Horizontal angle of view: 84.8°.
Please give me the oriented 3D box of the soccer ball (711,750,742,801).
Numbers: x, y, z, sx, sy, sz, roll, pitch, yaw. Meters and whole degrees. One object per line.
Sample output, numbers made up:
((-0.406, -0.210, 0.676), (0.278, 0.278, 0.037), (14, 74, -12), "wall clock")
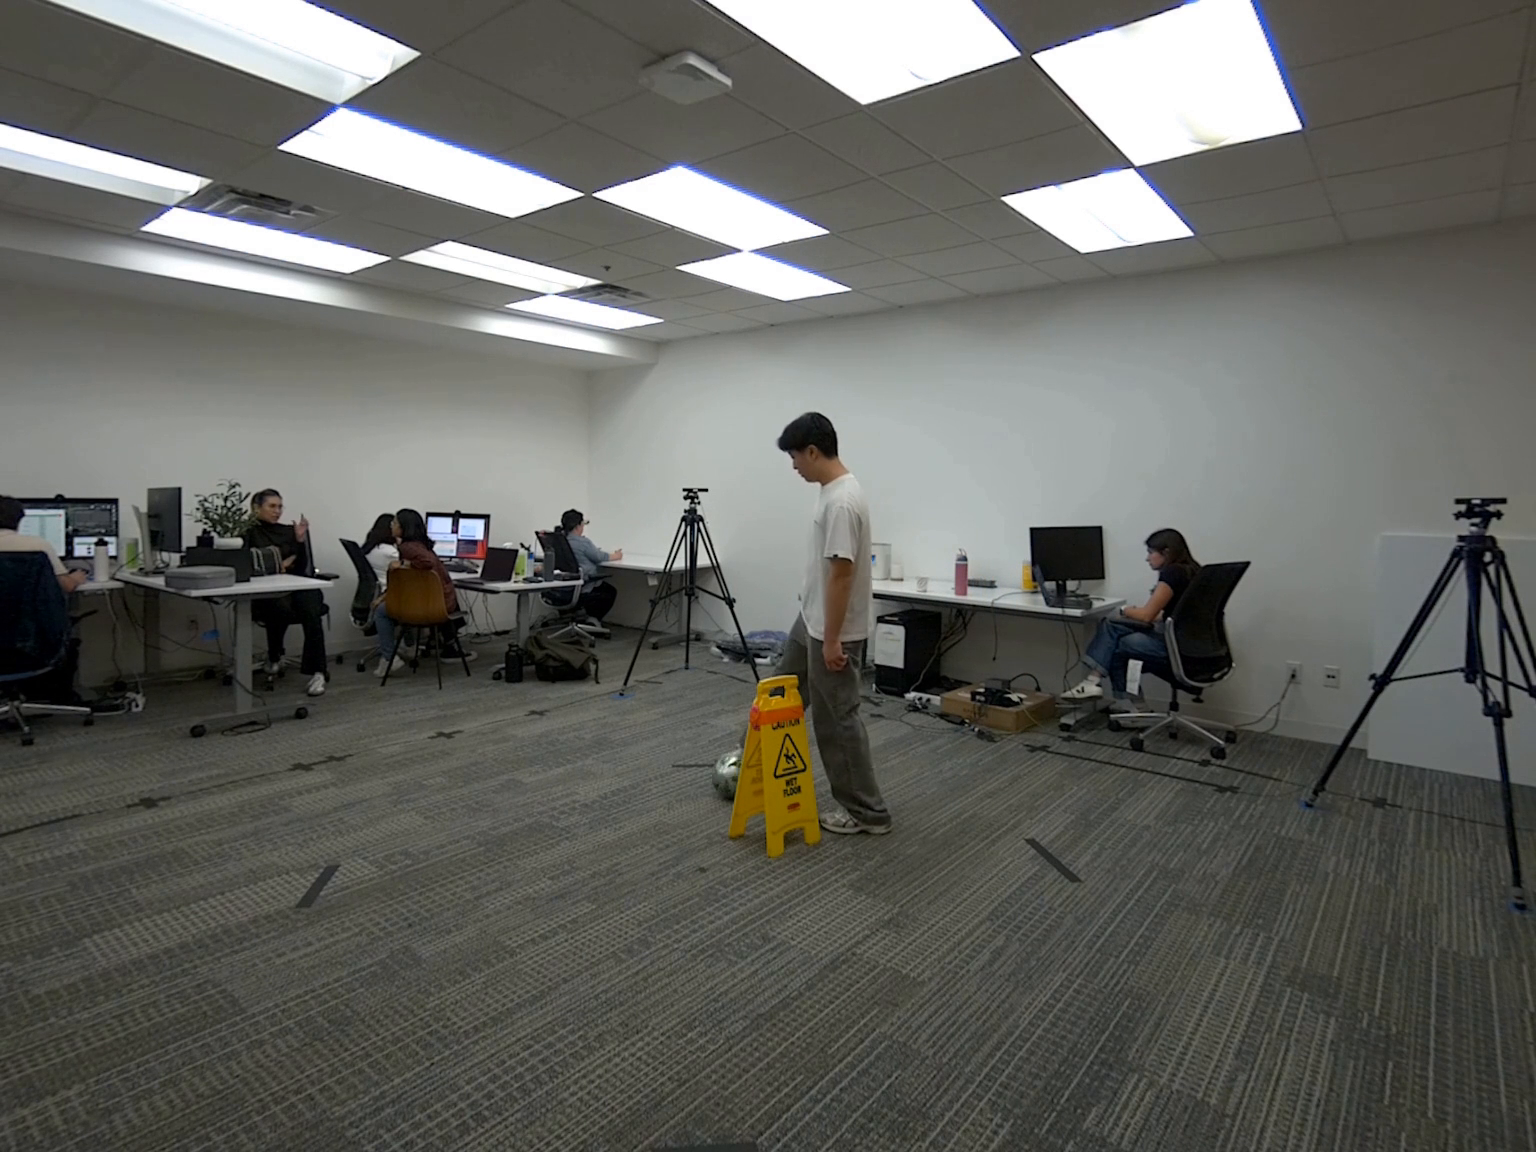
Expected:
((-0.155, 0.898, 3.839), (0.187, 0.187, 0.188), (1, 4, -2), "soccer ball")
